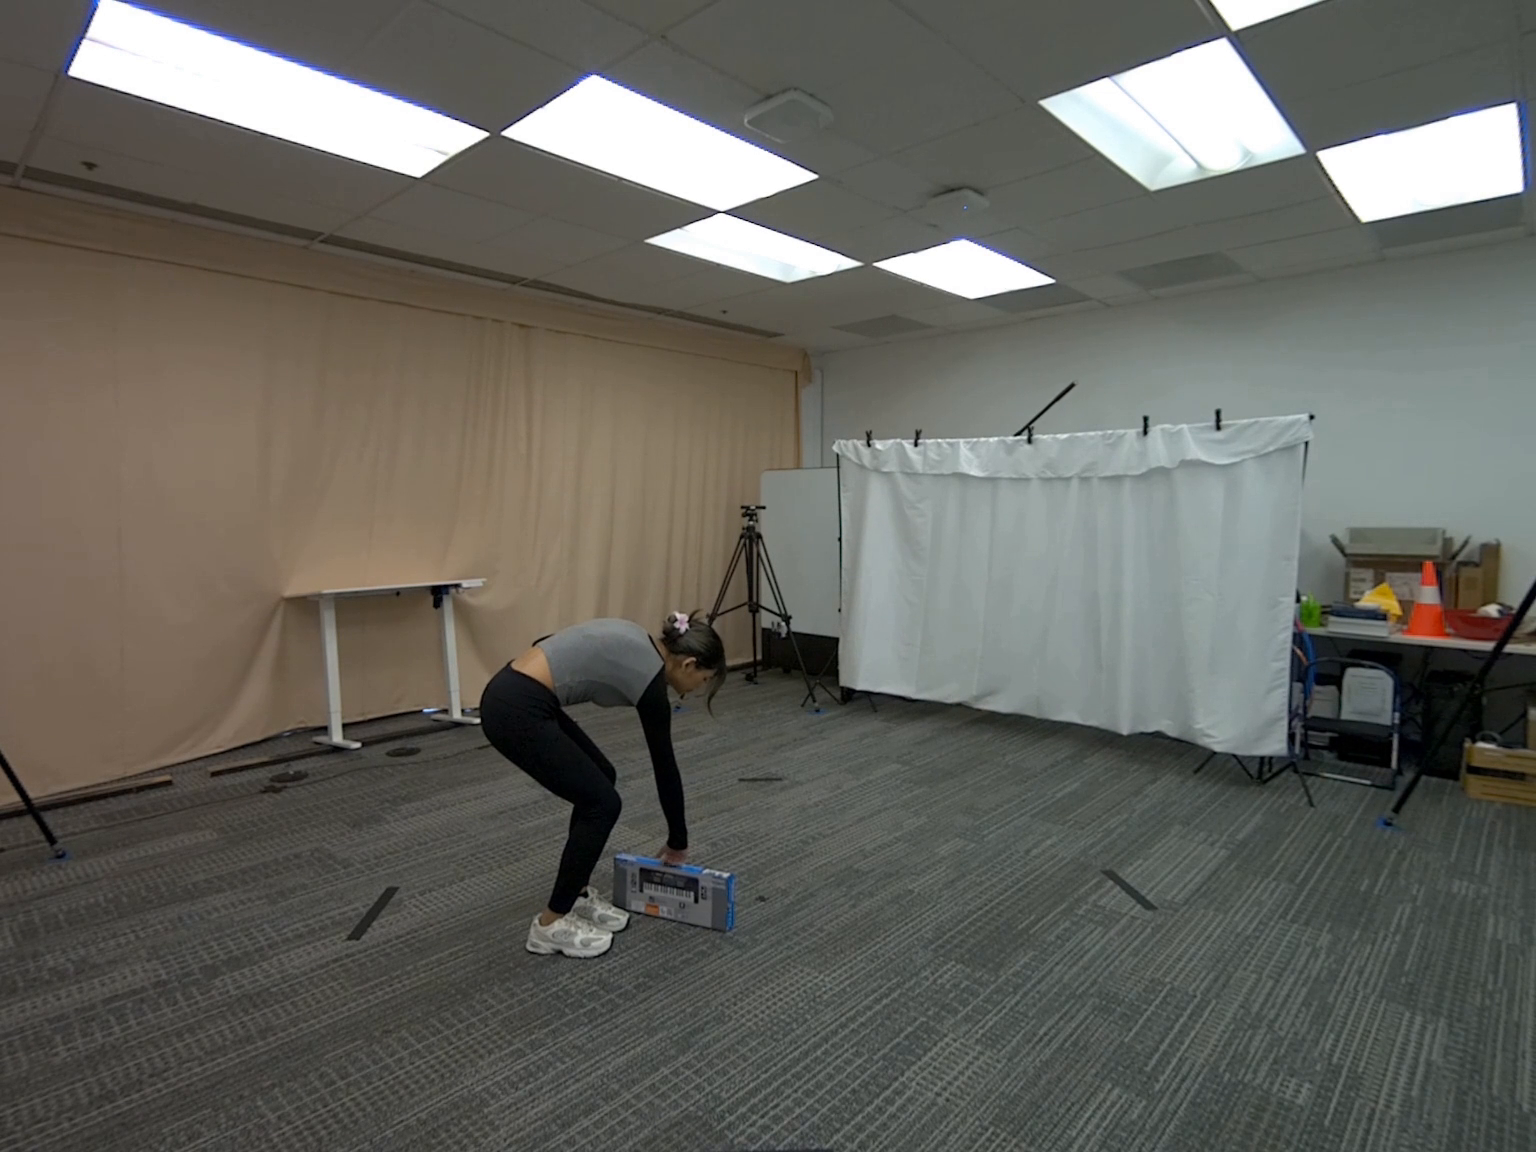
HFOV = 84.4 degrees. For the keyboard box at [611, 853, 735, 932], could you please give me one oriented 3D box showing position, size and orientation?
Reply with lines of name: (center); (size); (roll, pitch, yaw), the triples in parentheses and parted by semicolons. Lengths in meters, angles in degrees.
keyboard box: (-0.323, 1.070, 2.852); (0.447, 0.176, 0.057); (1, -1, 24)
